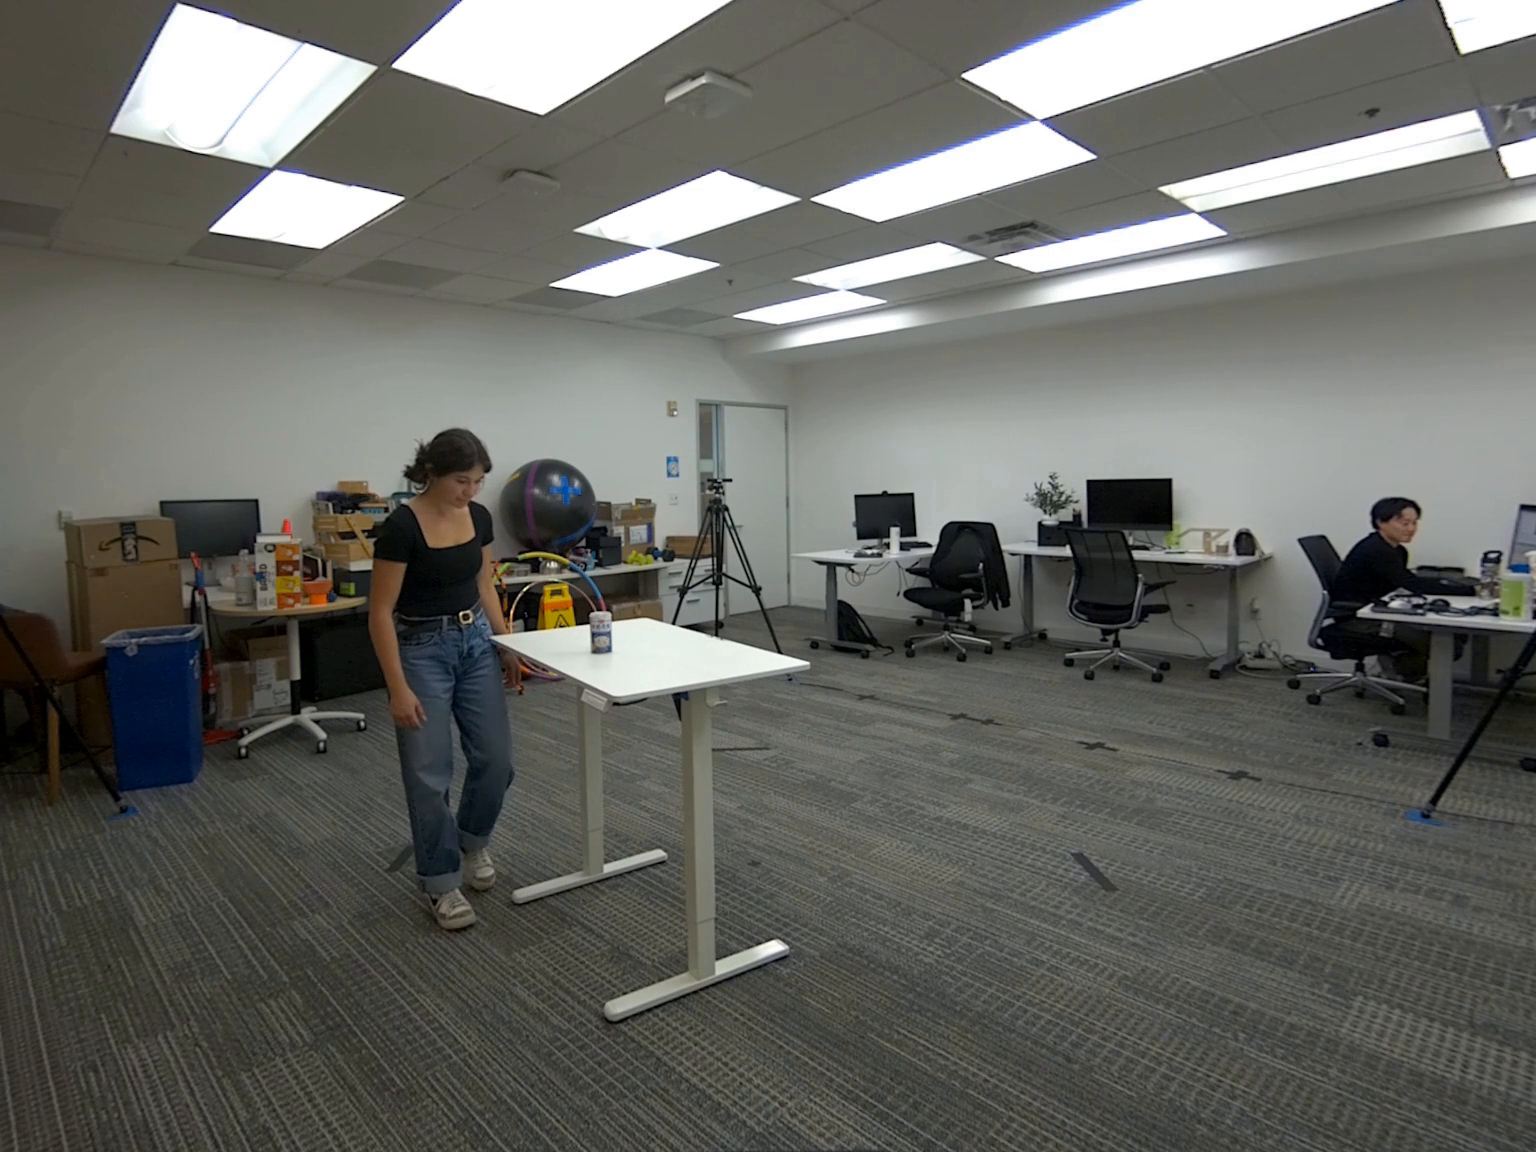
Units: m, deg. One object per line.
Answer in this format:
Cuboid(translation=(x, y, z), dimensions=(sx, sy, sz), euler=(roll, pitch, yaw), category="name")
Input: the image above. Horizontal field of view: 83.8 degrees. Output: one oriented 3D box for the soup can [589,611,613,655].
Cuboid(translation=(-0.506, 0.172, 2.586), dimensions=(0.067, 0.121, 0.067), euler=(1, 3, -2), category="soup can")
